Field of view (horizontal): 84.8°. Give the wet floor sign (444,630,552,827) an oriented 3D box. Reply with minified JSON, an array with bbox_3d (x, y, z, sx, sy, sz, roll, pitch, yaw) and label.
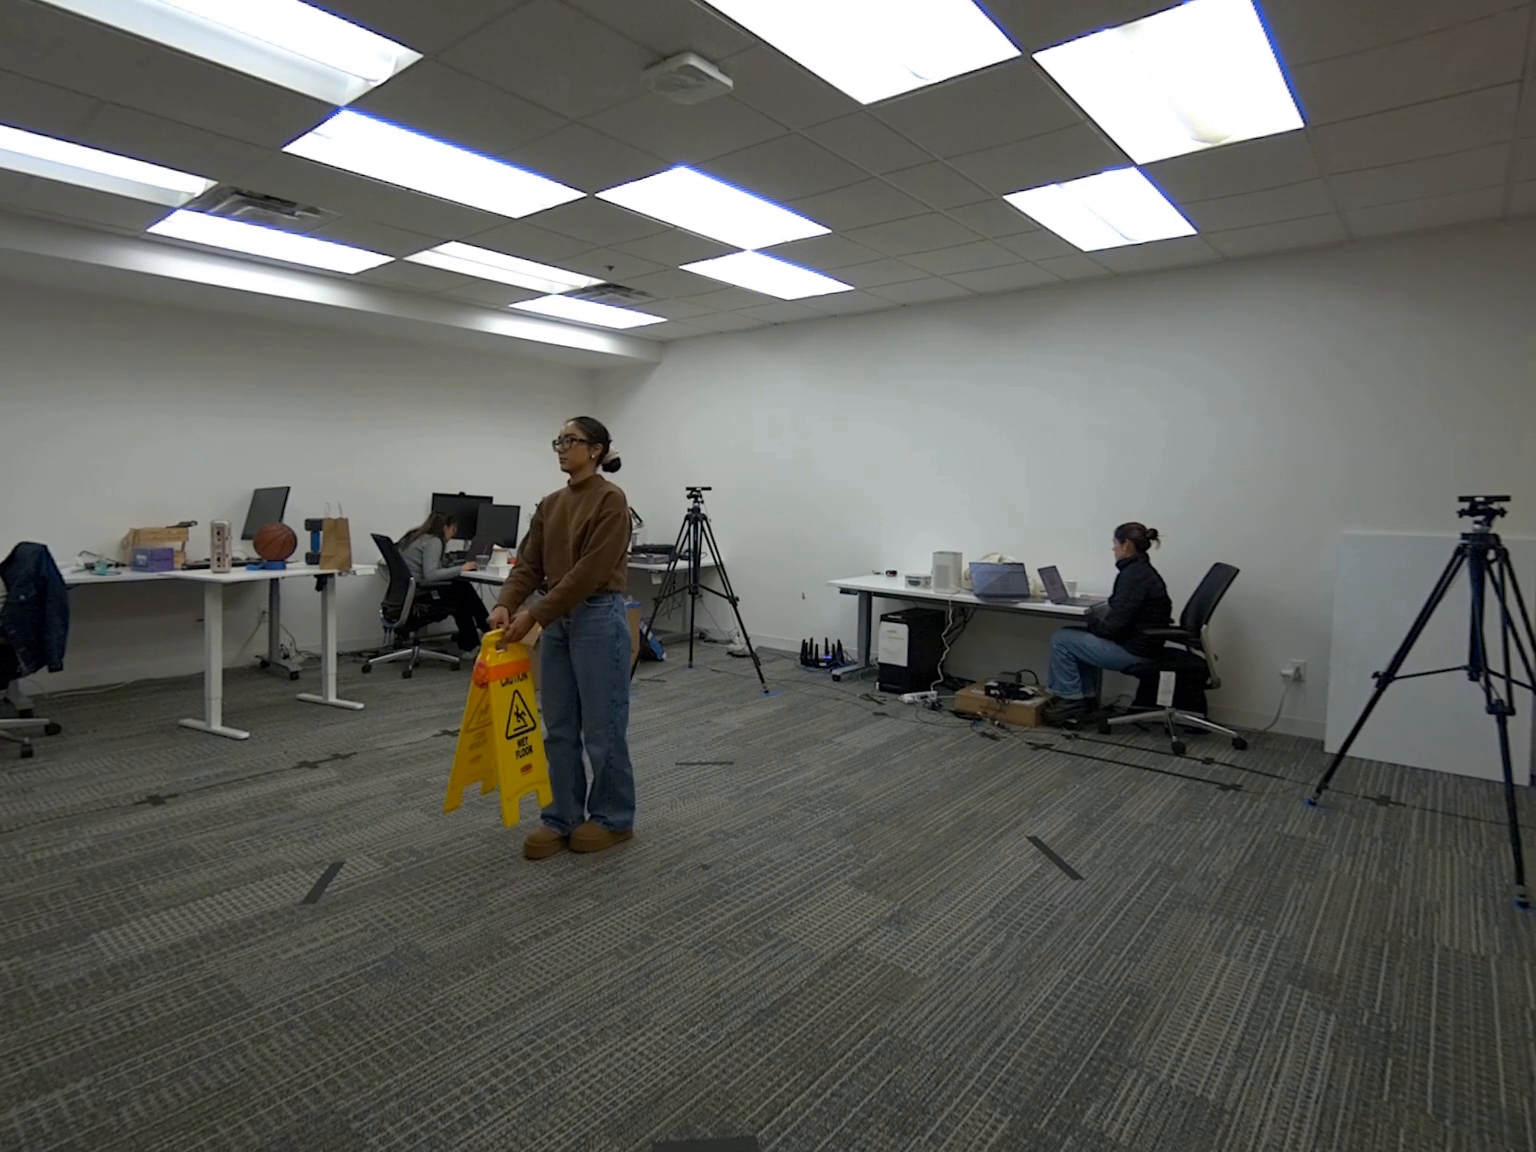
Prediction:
[{"bbox_3d":[-0.967,0.513,3.027,0.296,0.644,0.277,4,4,20],"label":"wet floor sign"}]
